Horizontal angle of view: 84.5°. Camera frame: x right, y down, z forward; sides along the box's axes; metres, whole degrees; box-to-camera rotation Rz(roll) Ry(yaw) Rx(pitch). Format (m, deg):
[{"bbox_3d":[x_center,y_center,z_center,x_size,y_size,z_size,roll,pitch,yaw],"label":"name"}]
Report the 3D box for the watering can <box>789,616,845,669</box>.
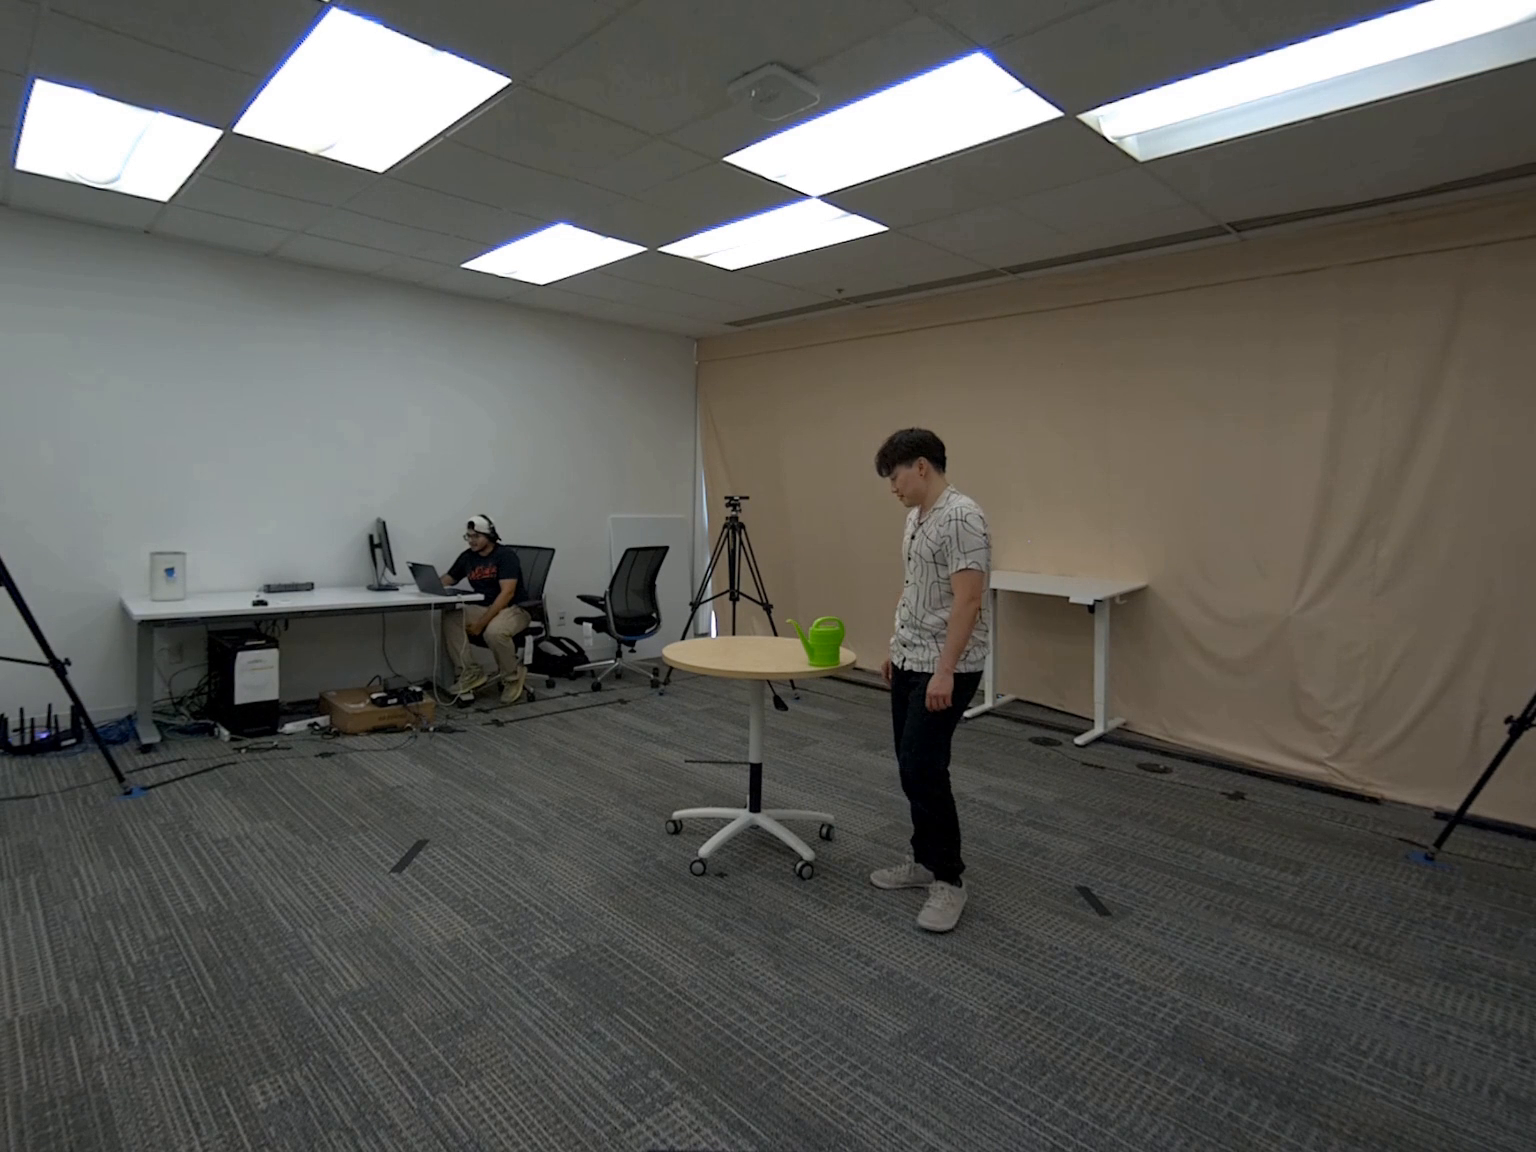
[{"bbox_3d":[0.163,0.239,3.101,0.273,0.177,0.100,2,0,-25],"label":"watering can"}]
